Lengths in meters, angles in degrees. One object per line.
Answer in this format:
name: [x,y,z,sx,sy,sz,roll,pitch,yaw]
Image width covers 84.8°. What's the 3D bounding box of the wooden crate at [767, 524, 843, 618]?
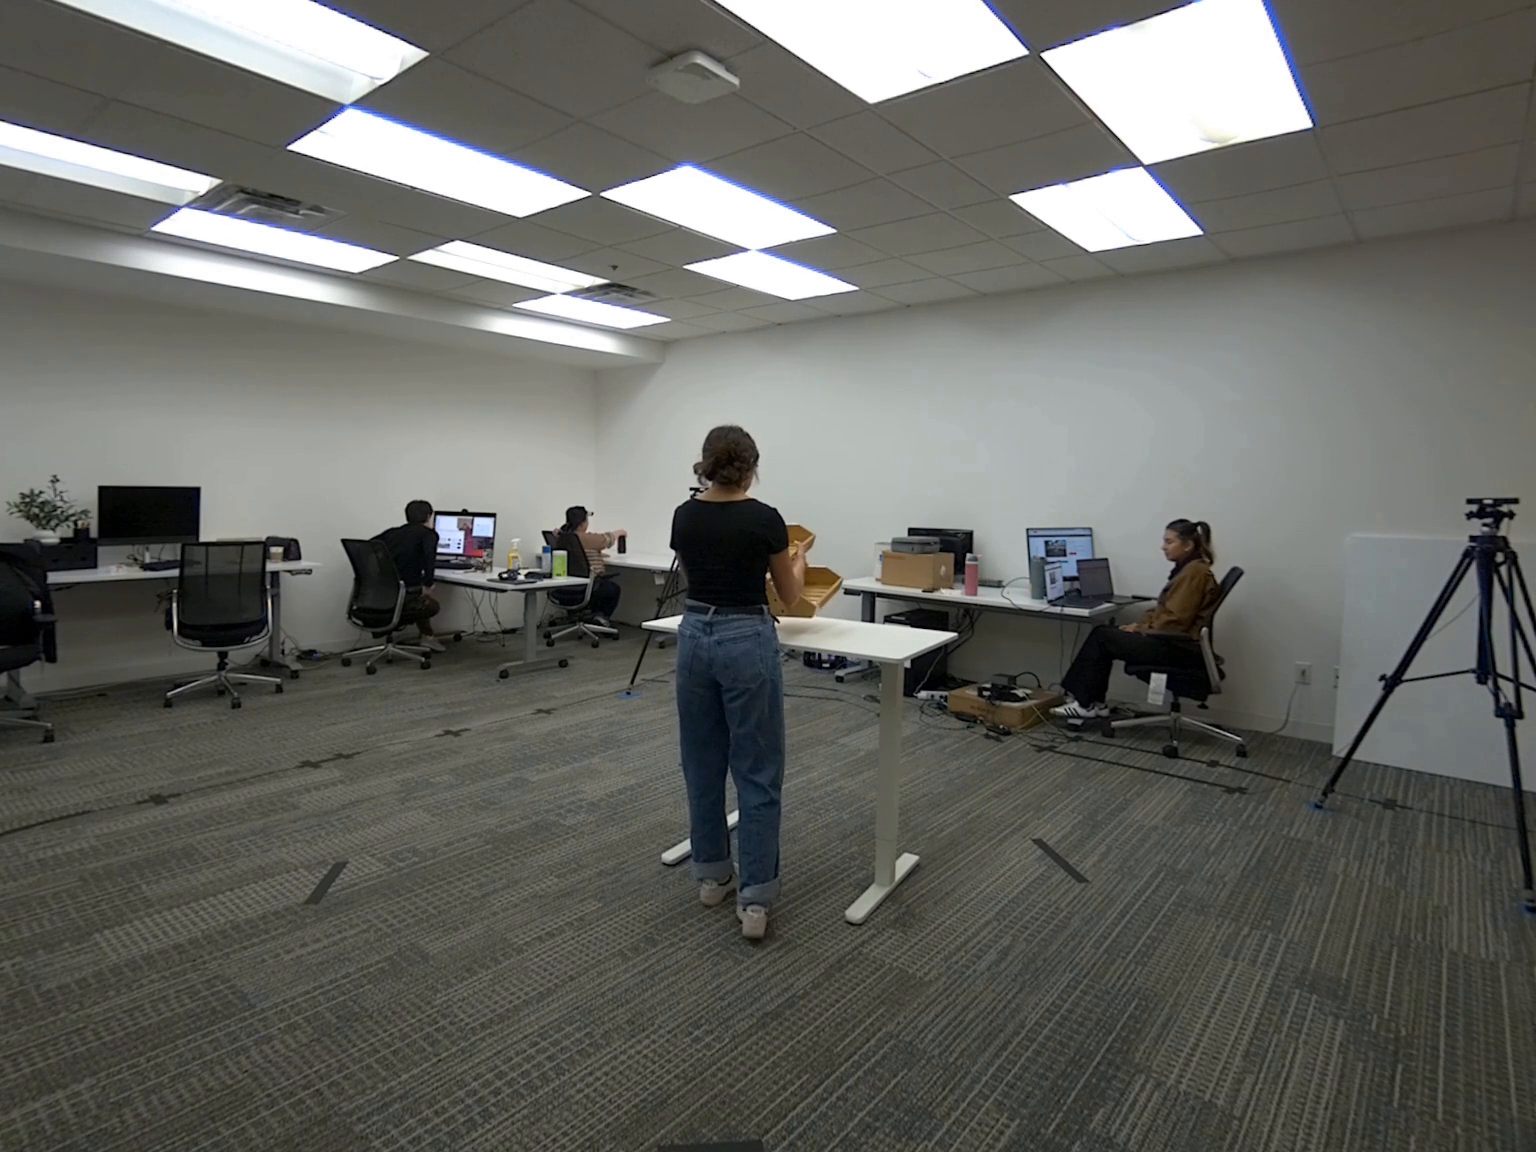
wooden crate: [0.070,-0.031,3.136,0.310,0.269,0.321,-1,18,27]
